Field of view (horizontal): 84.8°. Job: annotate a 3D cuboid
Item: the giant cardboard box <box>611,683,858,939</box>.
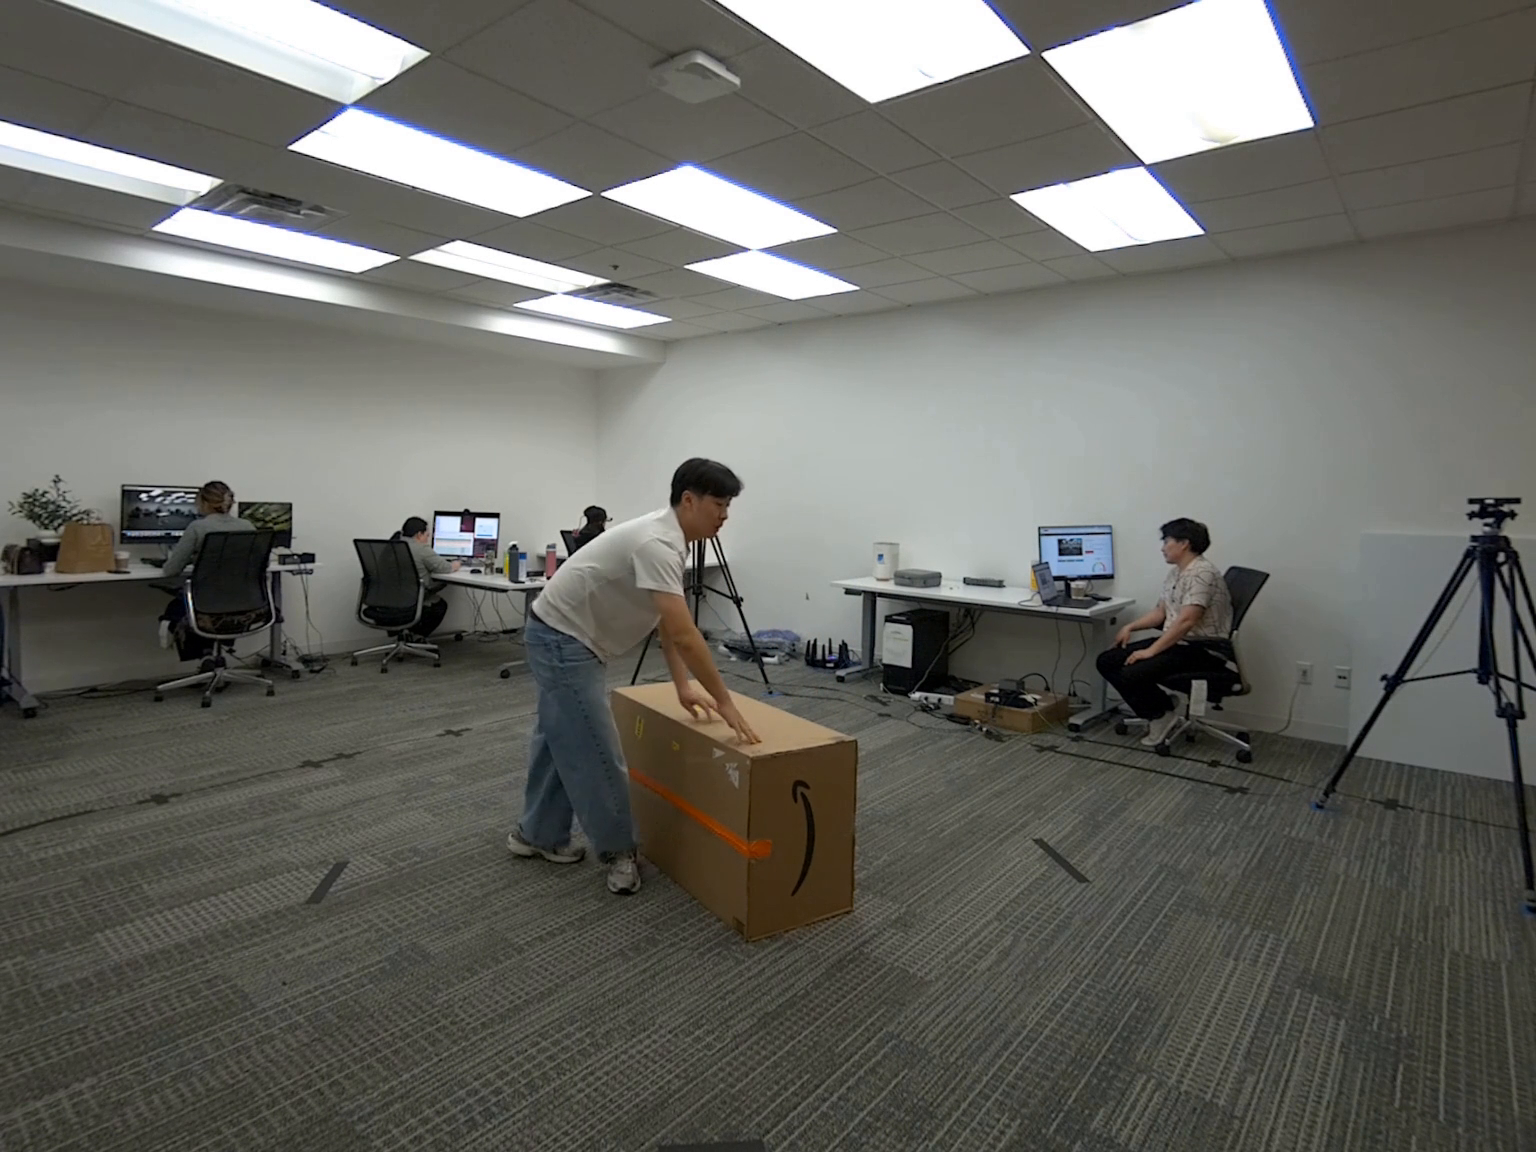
[{"bbox_3d":[-0.182,0.779,3.124,0.414,0.576,1.059,-1,5,-33],"label":"giant cardboard box"}]
